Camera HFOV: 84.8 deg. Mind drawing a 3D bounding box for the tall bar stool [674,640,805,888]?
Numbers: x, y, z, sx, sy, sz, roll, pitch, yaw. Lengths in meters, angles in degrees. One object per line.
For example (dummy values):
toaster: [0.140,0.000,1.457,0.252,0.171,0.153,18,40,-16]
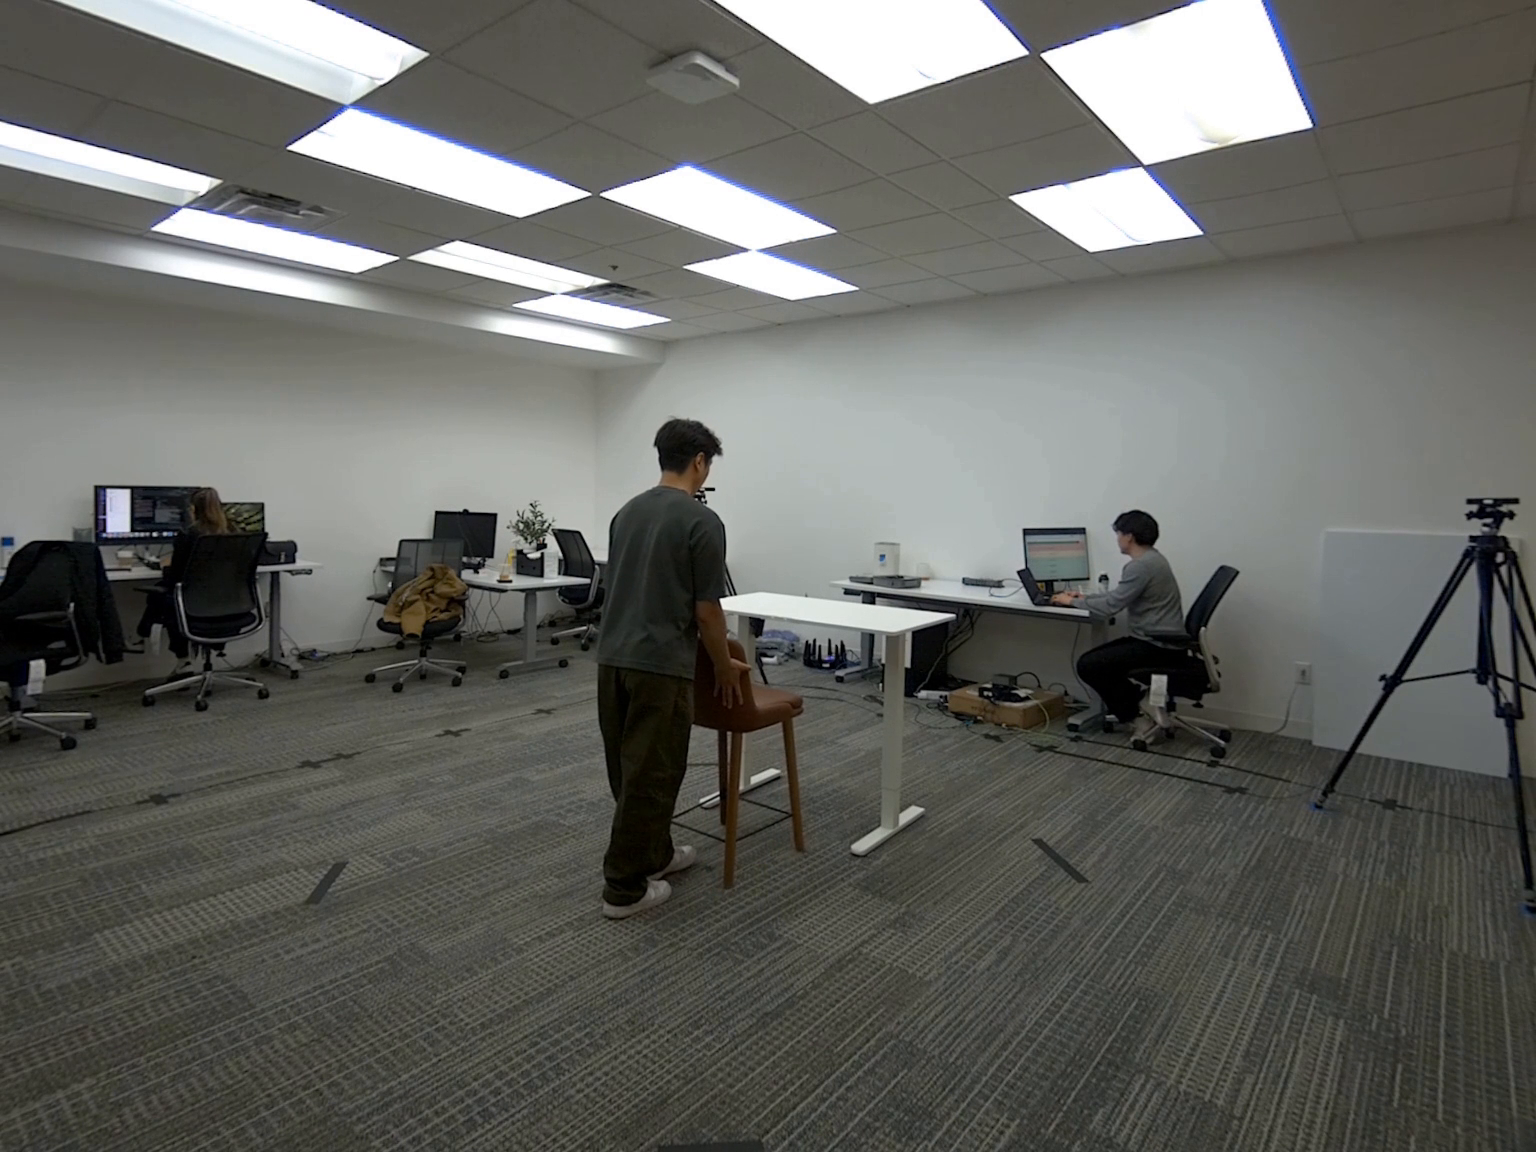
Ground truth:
tall bar stool: [-0.153,0.617,3.218,0.471,0.886,0.454,3,5,37]
